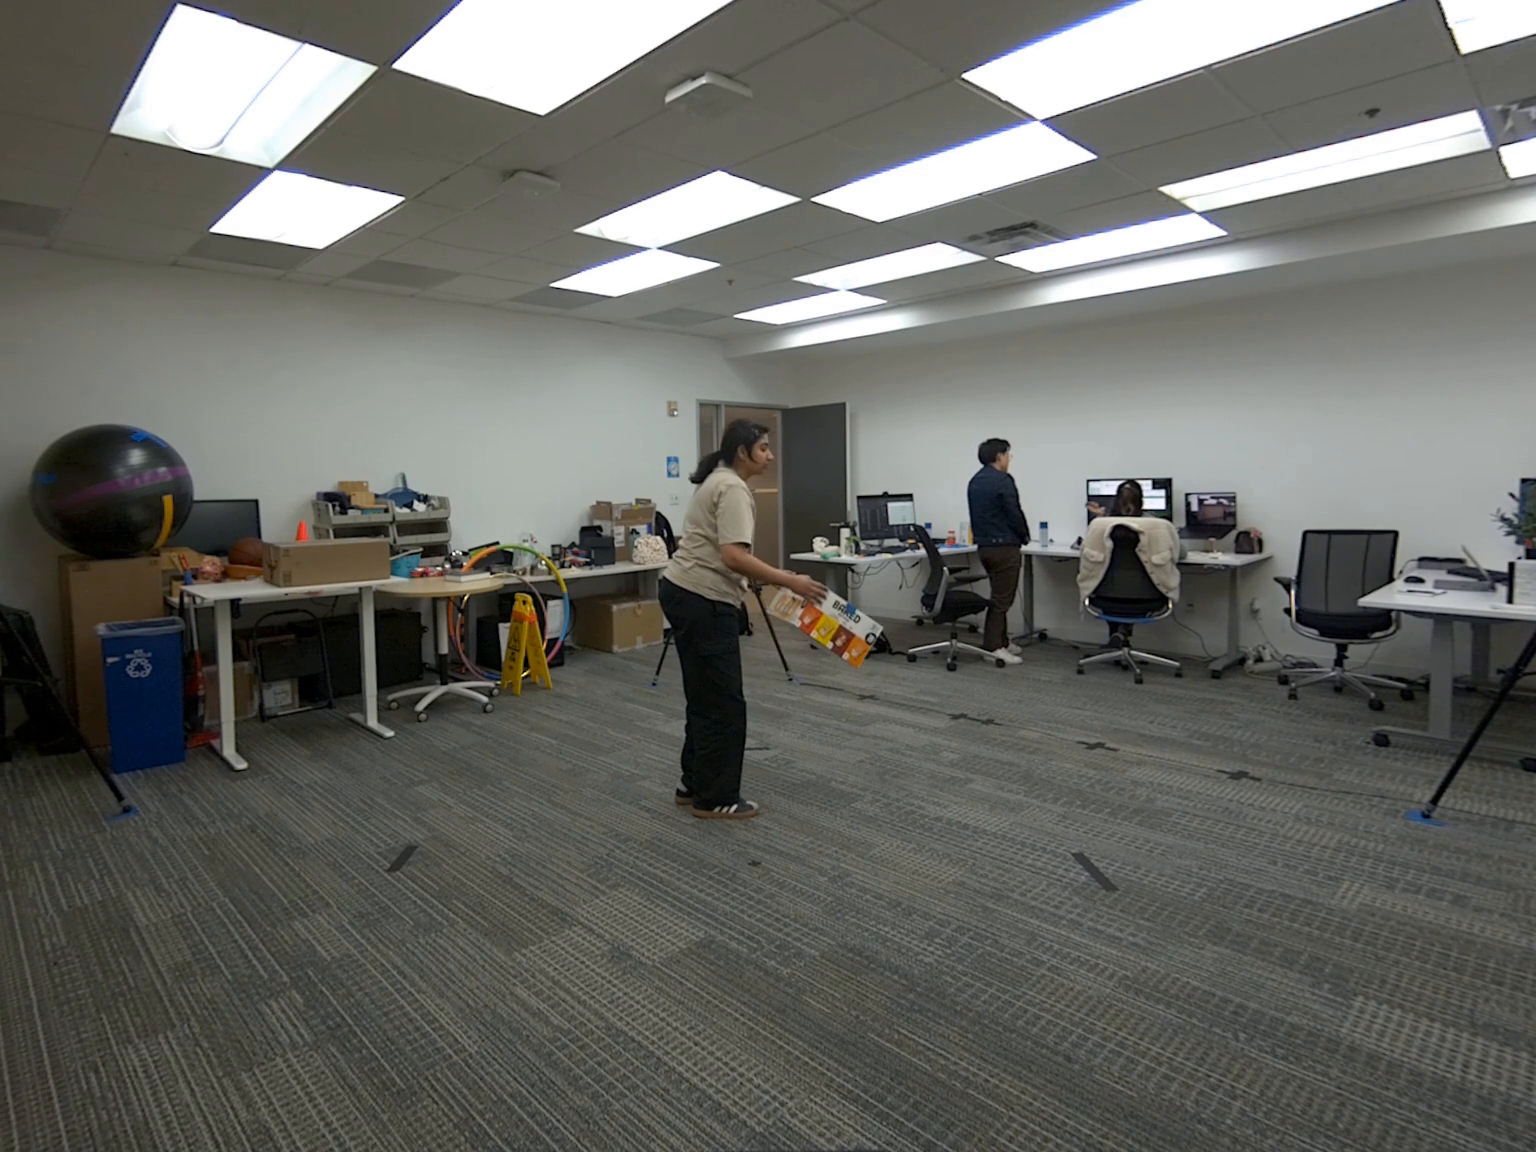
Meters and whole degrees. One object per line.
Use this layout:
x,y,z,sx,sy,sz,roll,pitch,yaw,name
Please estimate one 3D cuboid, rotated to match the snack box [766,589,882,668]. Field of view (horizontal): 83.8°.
0.227,0.191,3.690,0.335,0.206,0.412,36,-6,-14,snack box
